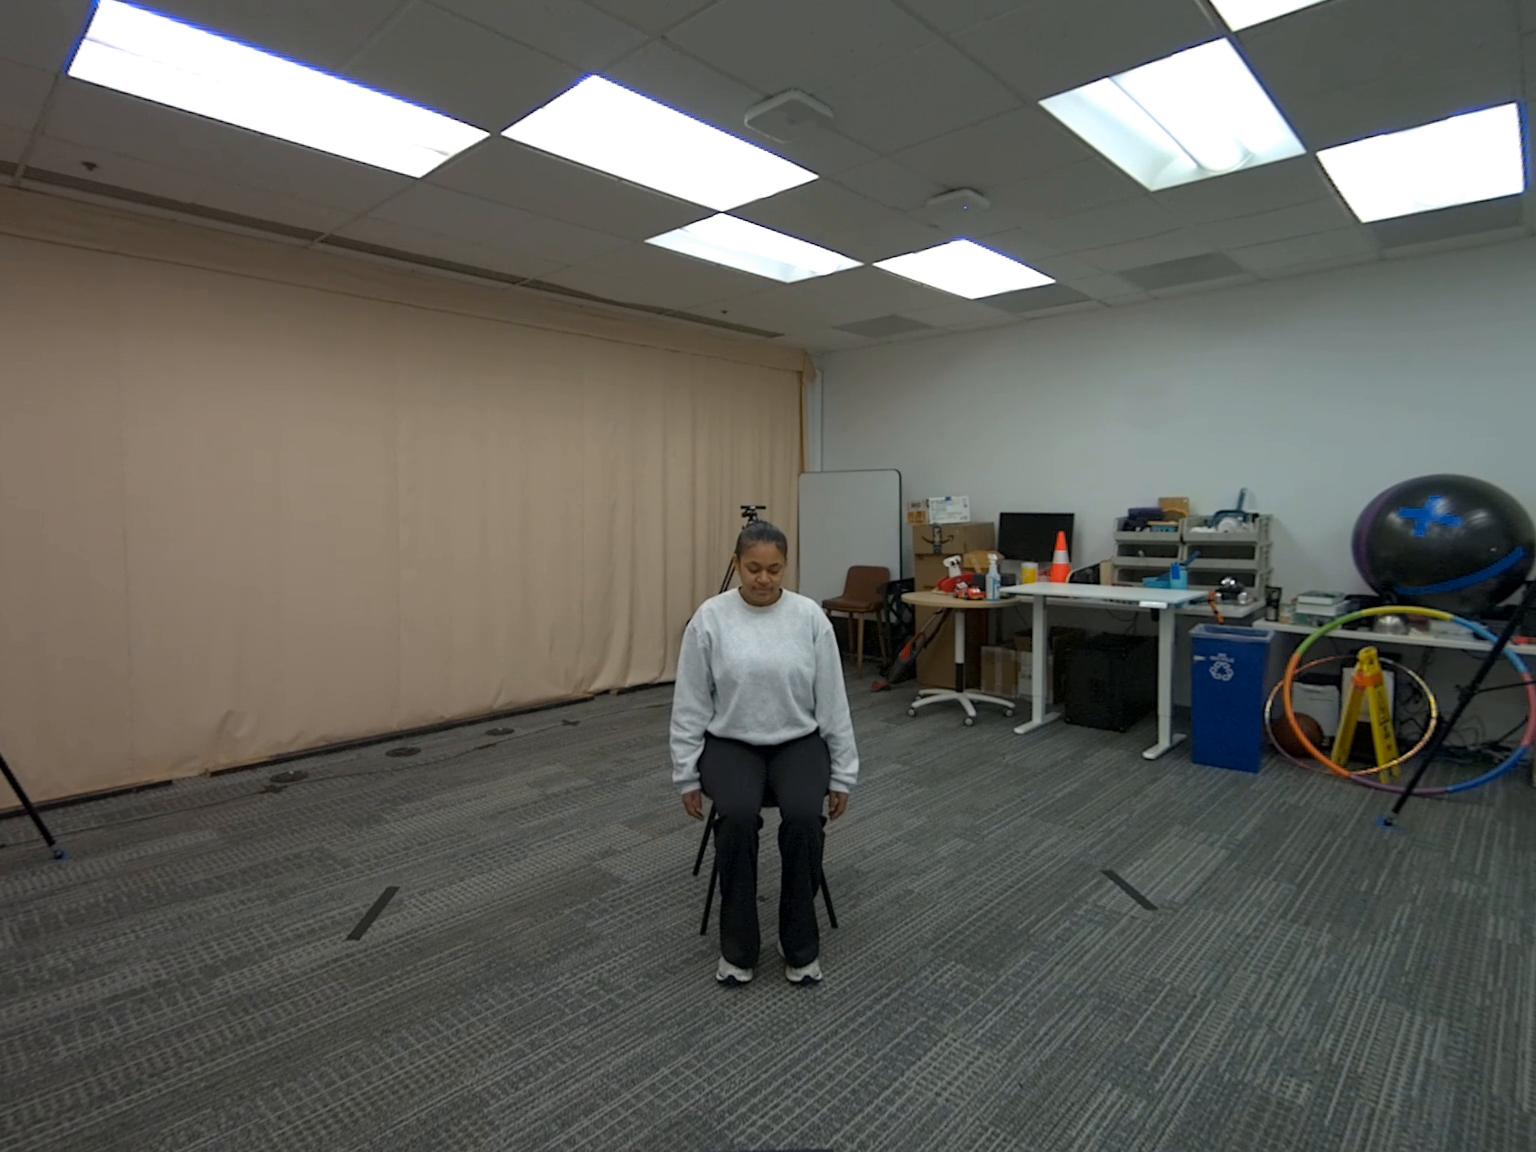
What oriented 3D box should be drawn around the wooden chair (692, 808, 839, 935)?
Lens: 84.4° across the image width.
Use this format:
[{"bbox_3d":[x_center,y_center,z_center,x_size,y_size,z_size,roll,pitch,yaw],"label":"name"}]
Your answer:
[{"bbox_3d":[-0.022,0.721,2.939,0.474,0.877,0.527,0,0,-8],"label":"wooden chair"}]
